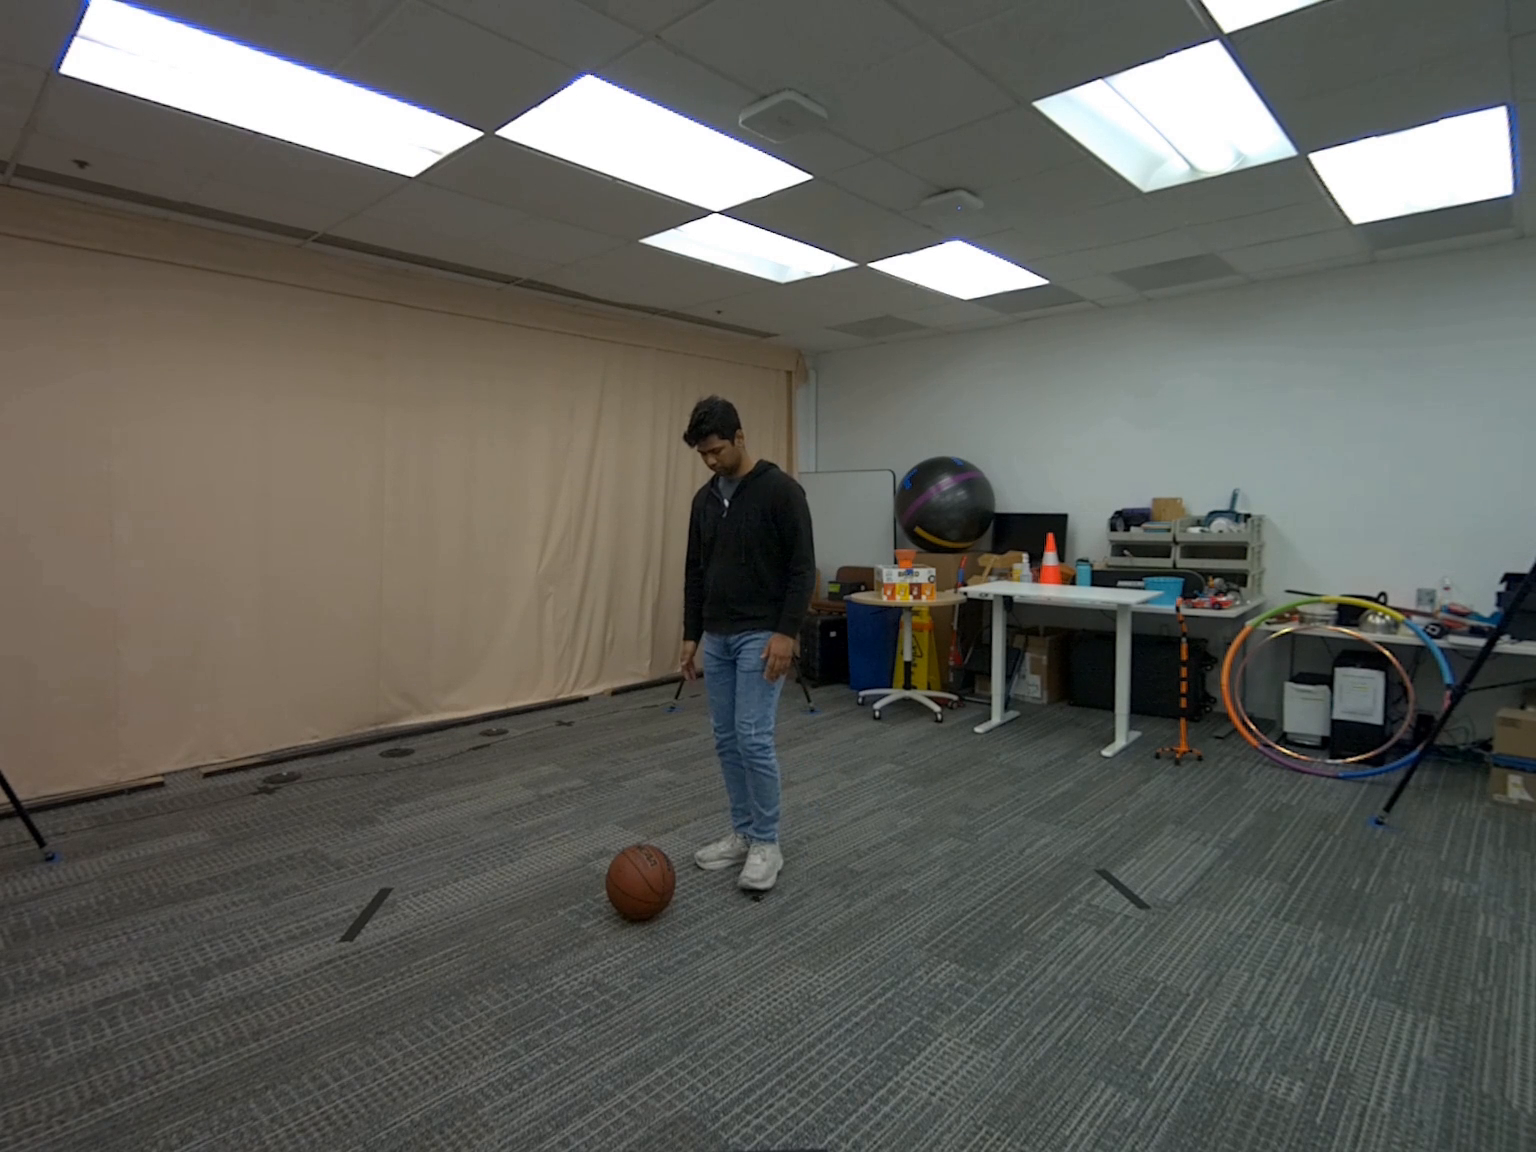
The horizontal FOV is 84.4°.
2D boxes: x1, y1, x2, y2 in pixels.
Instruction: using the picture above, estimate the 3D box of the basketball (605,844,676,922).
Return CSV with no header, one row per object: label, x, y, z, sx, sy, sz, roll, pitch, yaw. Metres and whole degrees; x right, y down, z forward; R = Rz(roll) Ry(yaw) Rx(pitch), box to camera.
basketball,-0.427,1.037,2.861,0.236,0.235,0.237,0,4,-2
